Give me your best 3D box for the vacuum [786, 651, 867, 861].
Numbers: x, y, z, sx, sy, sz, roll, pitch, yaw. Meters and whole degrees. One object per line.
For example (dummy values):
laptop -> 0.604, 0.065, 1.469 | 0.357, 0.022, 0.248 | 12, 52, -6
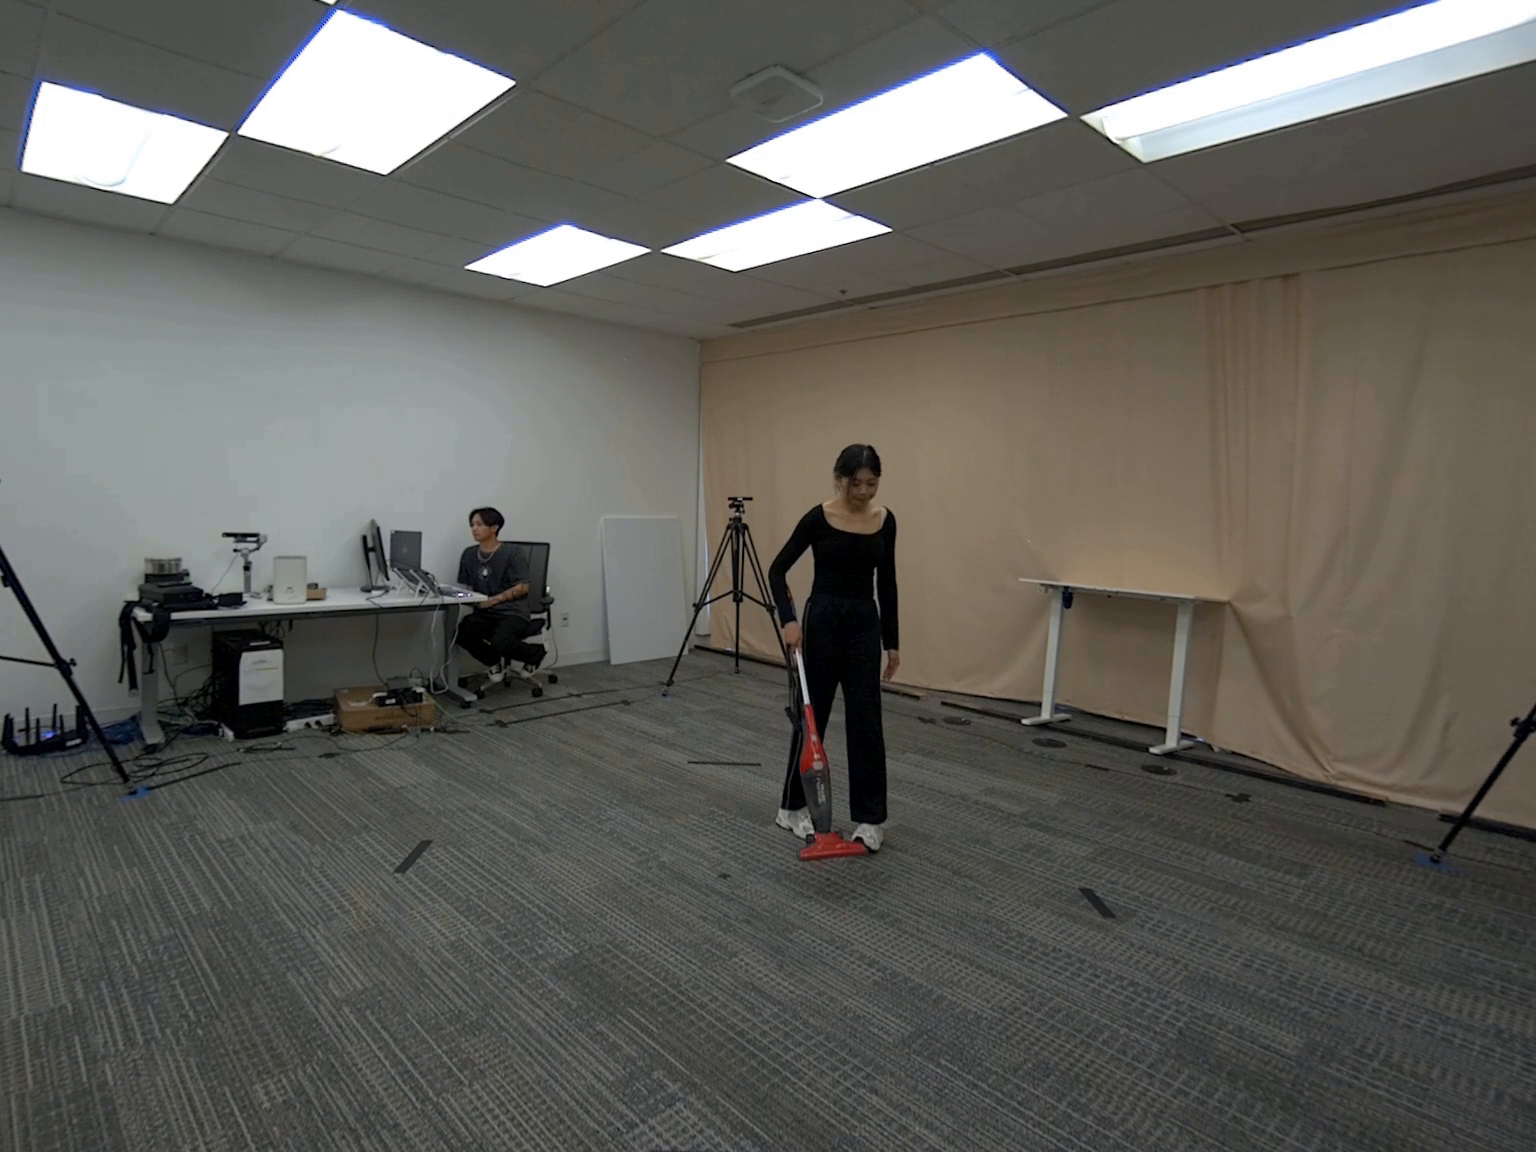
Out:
vacuum -> 0.132, 0.526, 3.257 | 0.251, 1.071, 0.142 | -5, -28, -10
